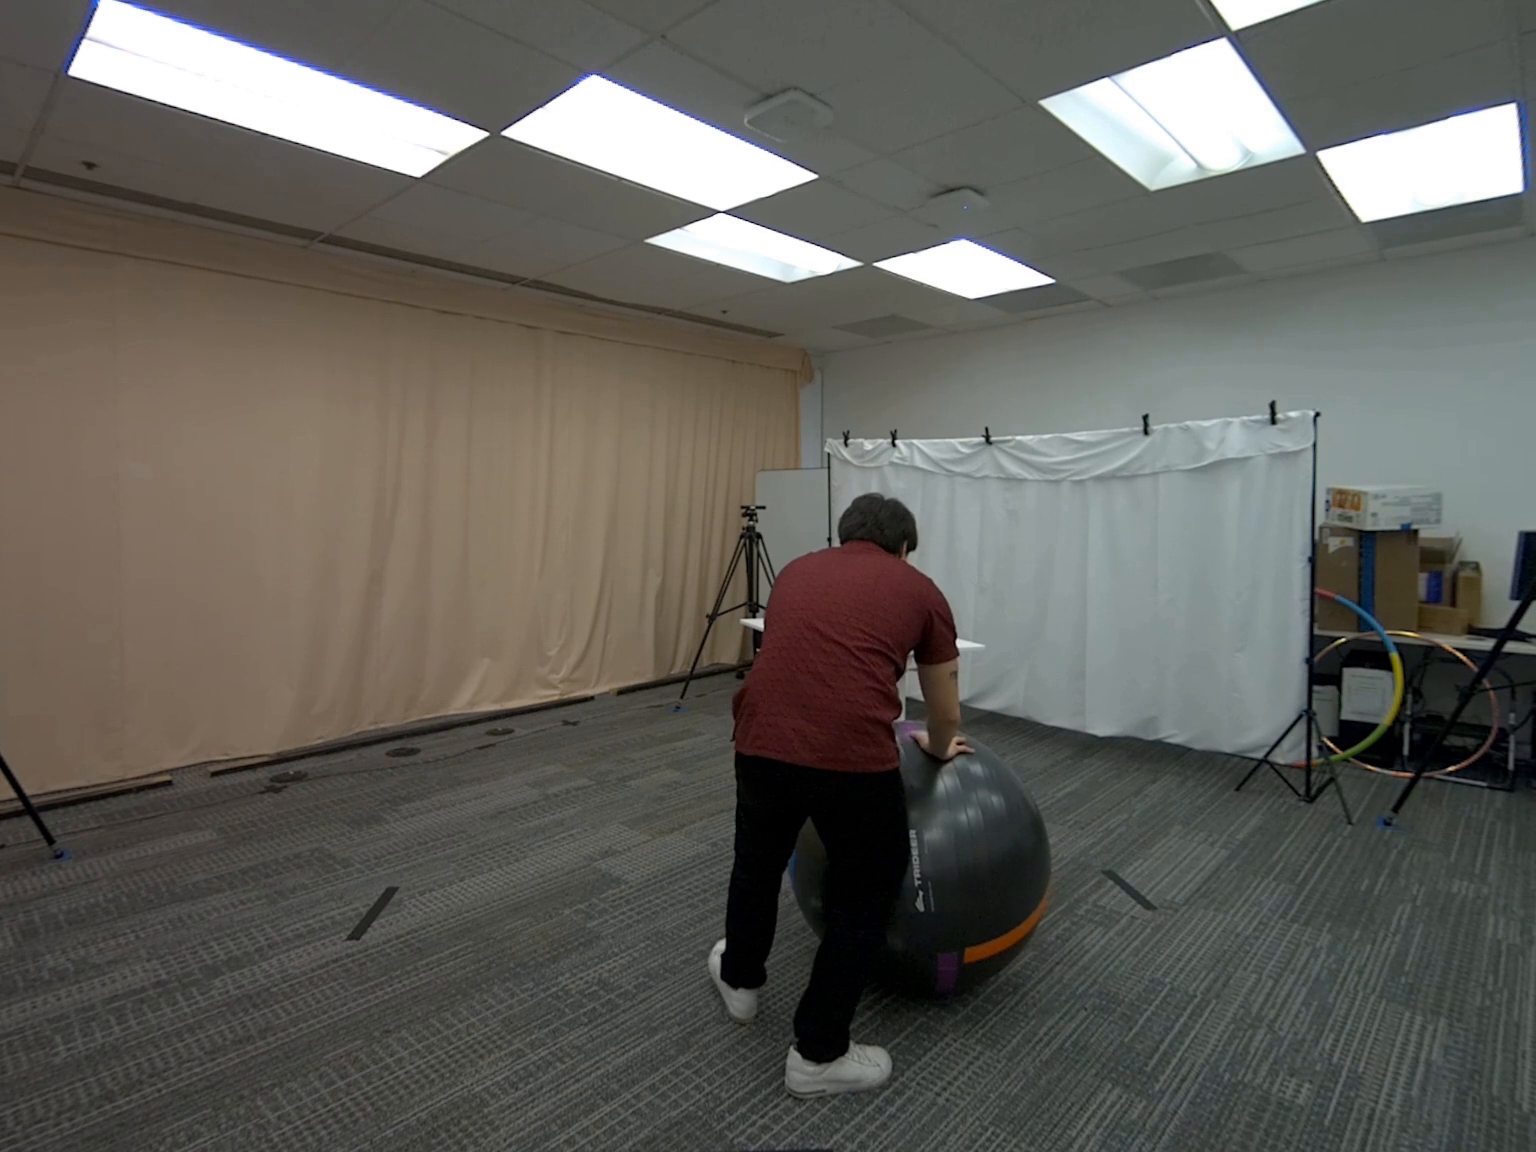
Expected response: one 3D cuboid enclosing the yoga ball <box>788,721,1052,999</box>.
[{"bbox_3d":[0.444,0.828,2.510,0.757,0.756,0.760,0,4,-2],"label":"yoga ball"}]
